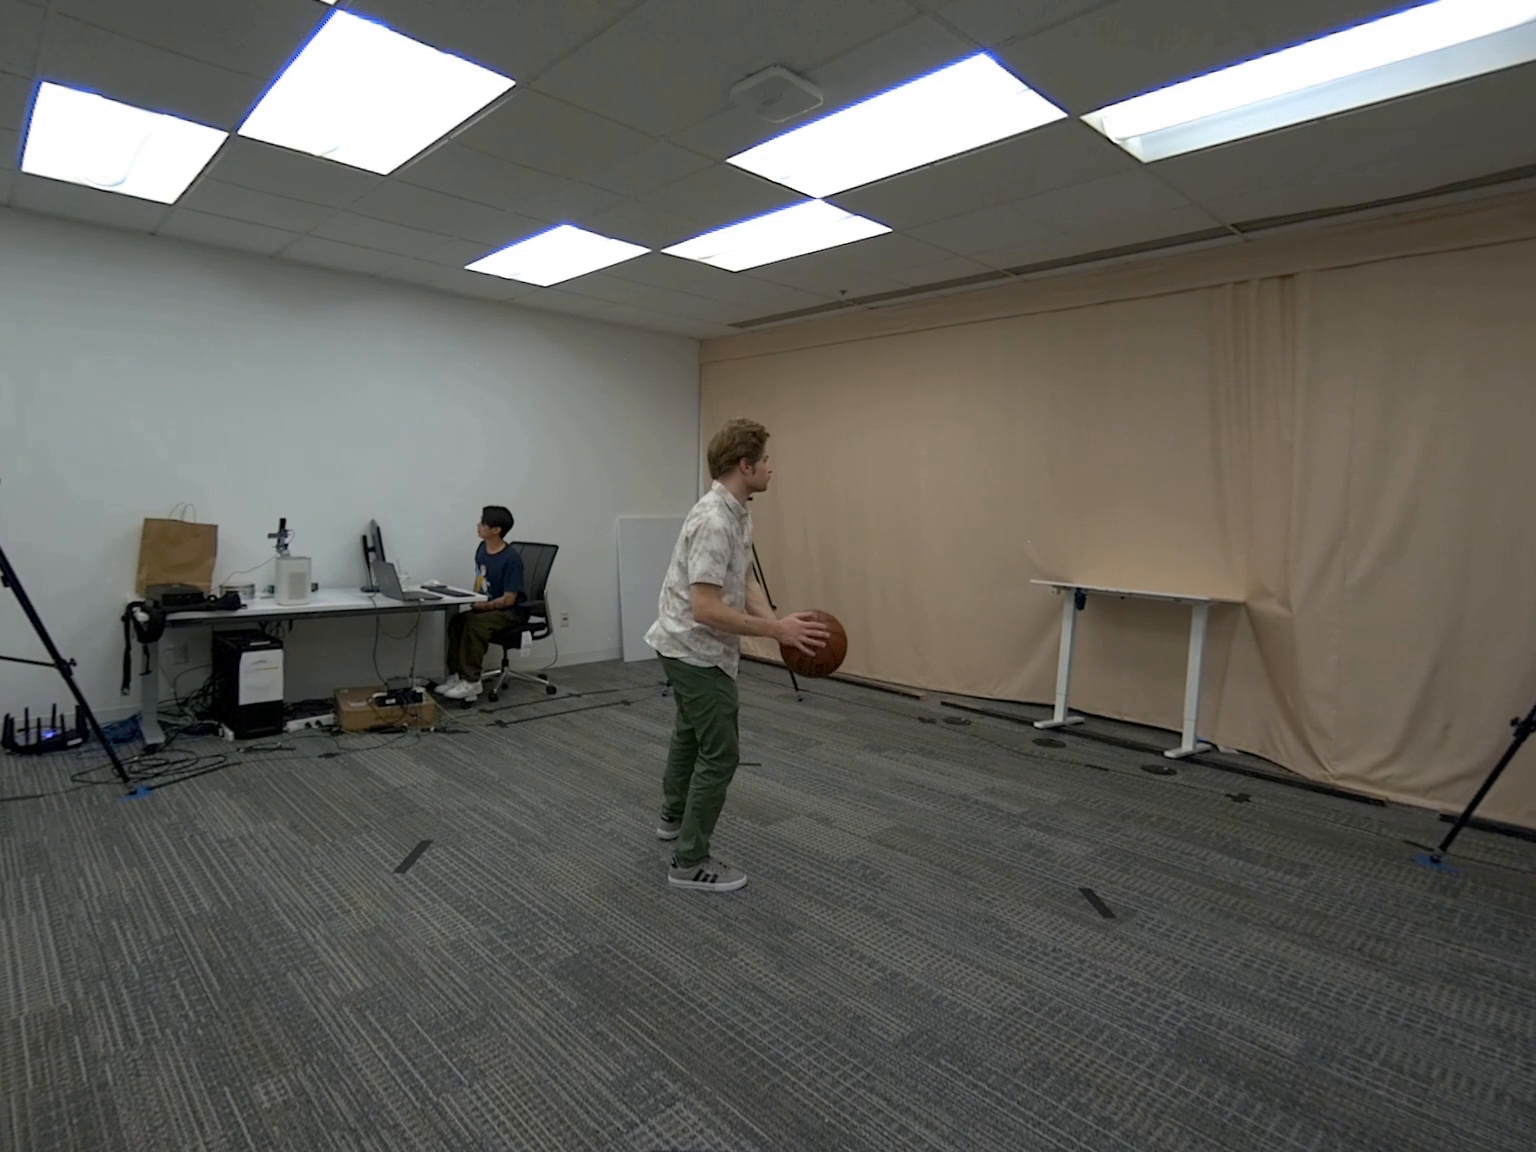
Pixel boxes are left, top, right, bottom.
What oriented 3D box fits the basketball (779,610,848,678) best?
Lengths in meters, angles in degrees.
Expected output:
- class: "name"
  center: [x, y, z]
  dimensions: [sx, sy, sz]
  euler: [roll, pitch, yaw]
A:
- class: "basketball"
  center: [0.147, 0.231, 2.937]
  dimensions: [0.236, 0.235, 0.237]
  euler: [1, 4, -1]
